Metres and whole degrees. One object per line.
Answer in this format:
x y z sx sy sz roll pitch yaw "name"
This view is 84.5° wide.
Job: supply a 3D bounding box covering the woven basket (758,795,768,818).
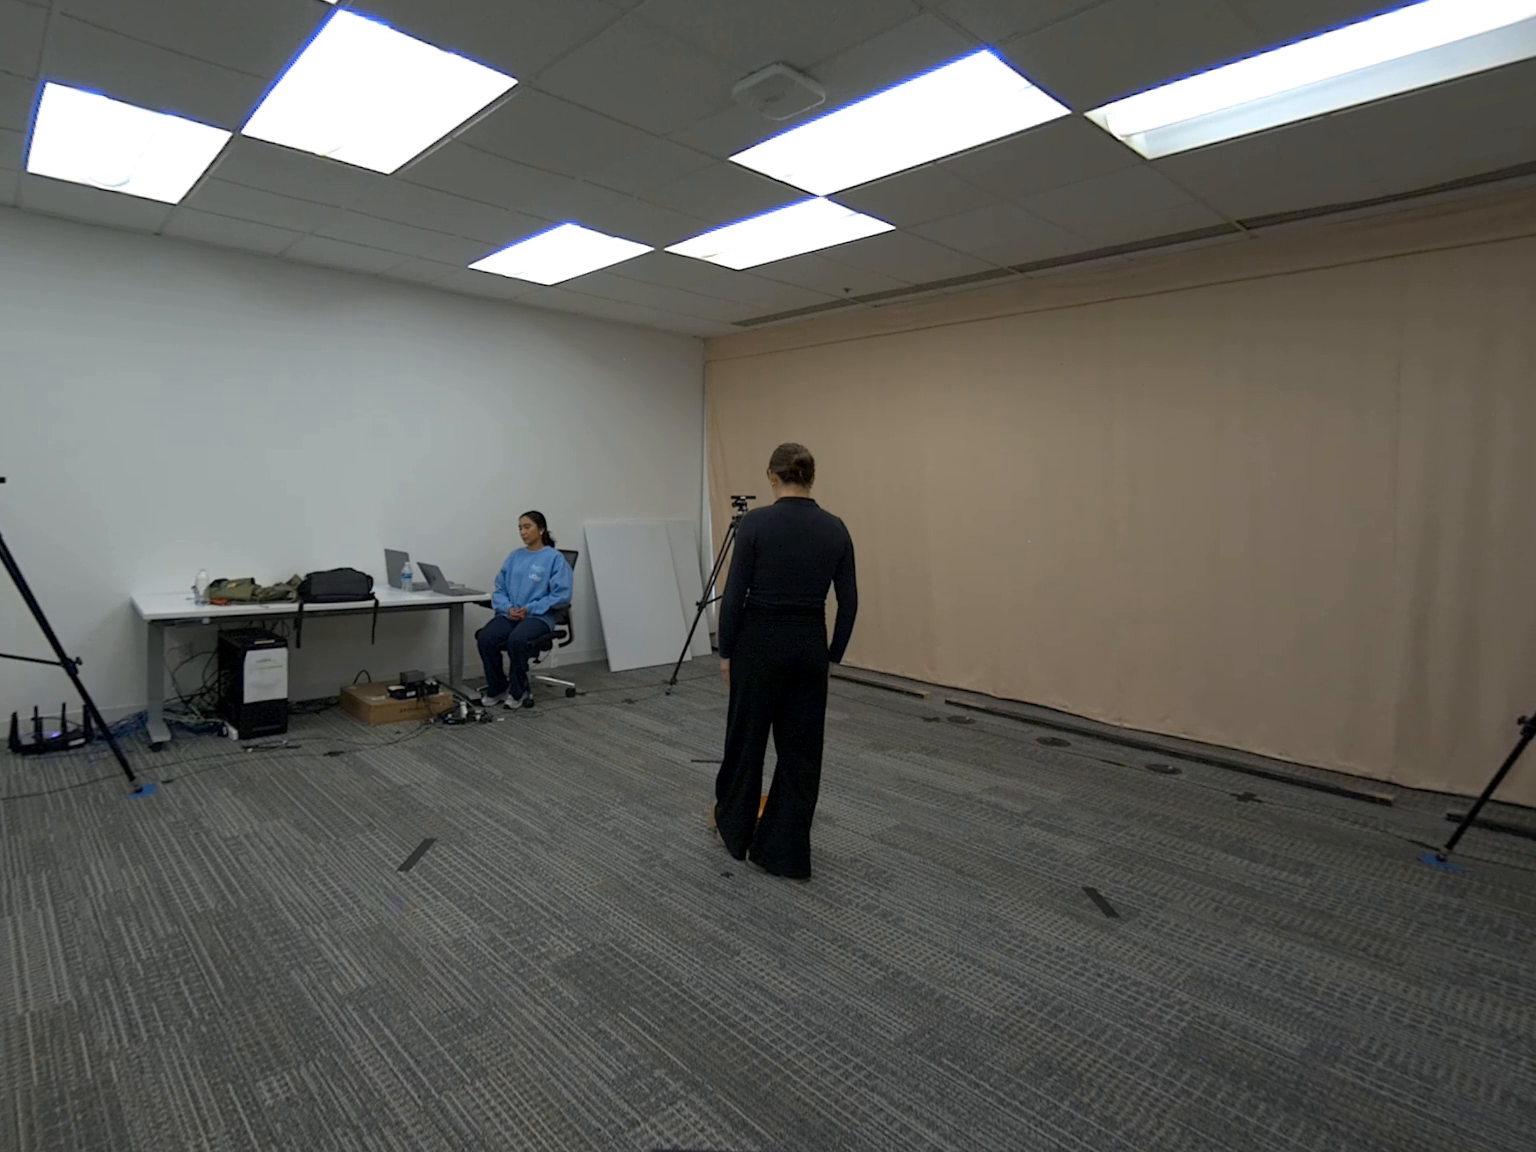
0.006 1.021 3.630 0.349 0.073 0.255 2 8 -6 "woven basket"
